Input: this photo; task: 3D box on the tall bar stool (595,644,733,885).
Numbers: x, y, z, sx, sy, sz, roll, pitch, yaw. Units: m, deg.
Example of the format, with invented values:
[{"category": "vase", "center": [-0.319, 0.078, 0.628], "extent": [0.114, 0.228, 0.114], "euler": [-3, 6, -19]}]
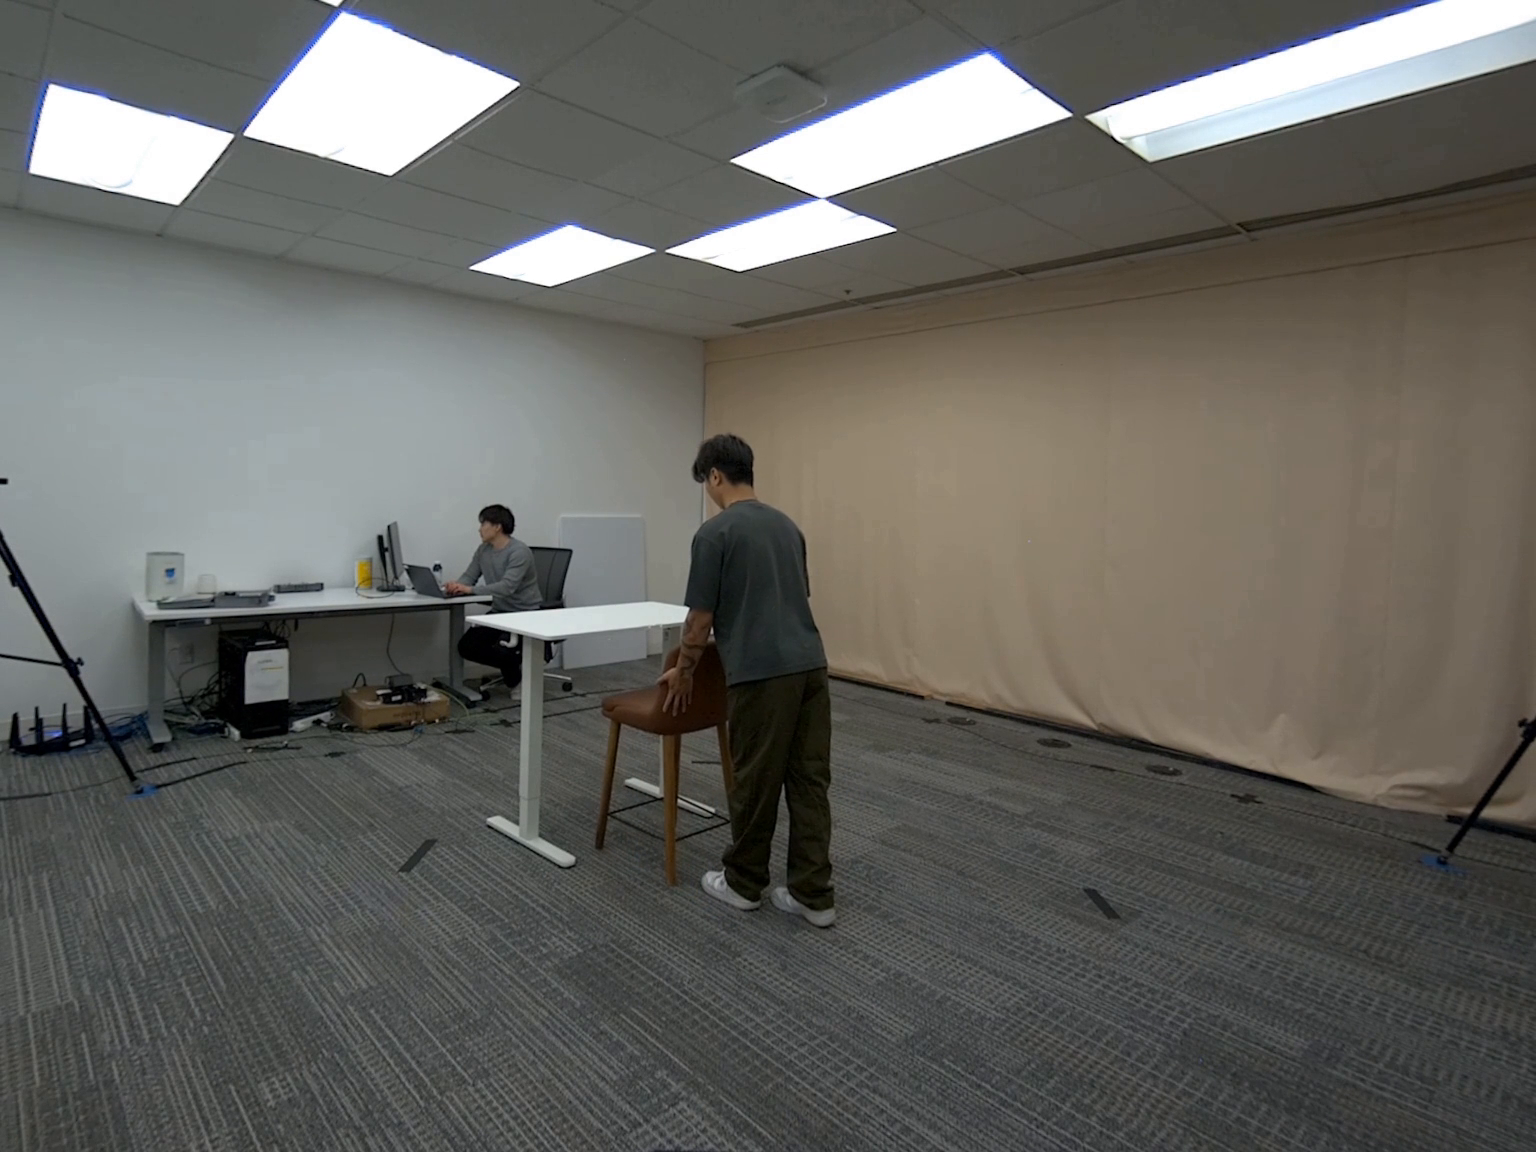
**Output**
[{"category": "tall bar stool", "center": [-0.370, 0.645, 3.267], "extent": [0.446, 0.887, 0.480], "euler": [-1, 7, -45]}]
